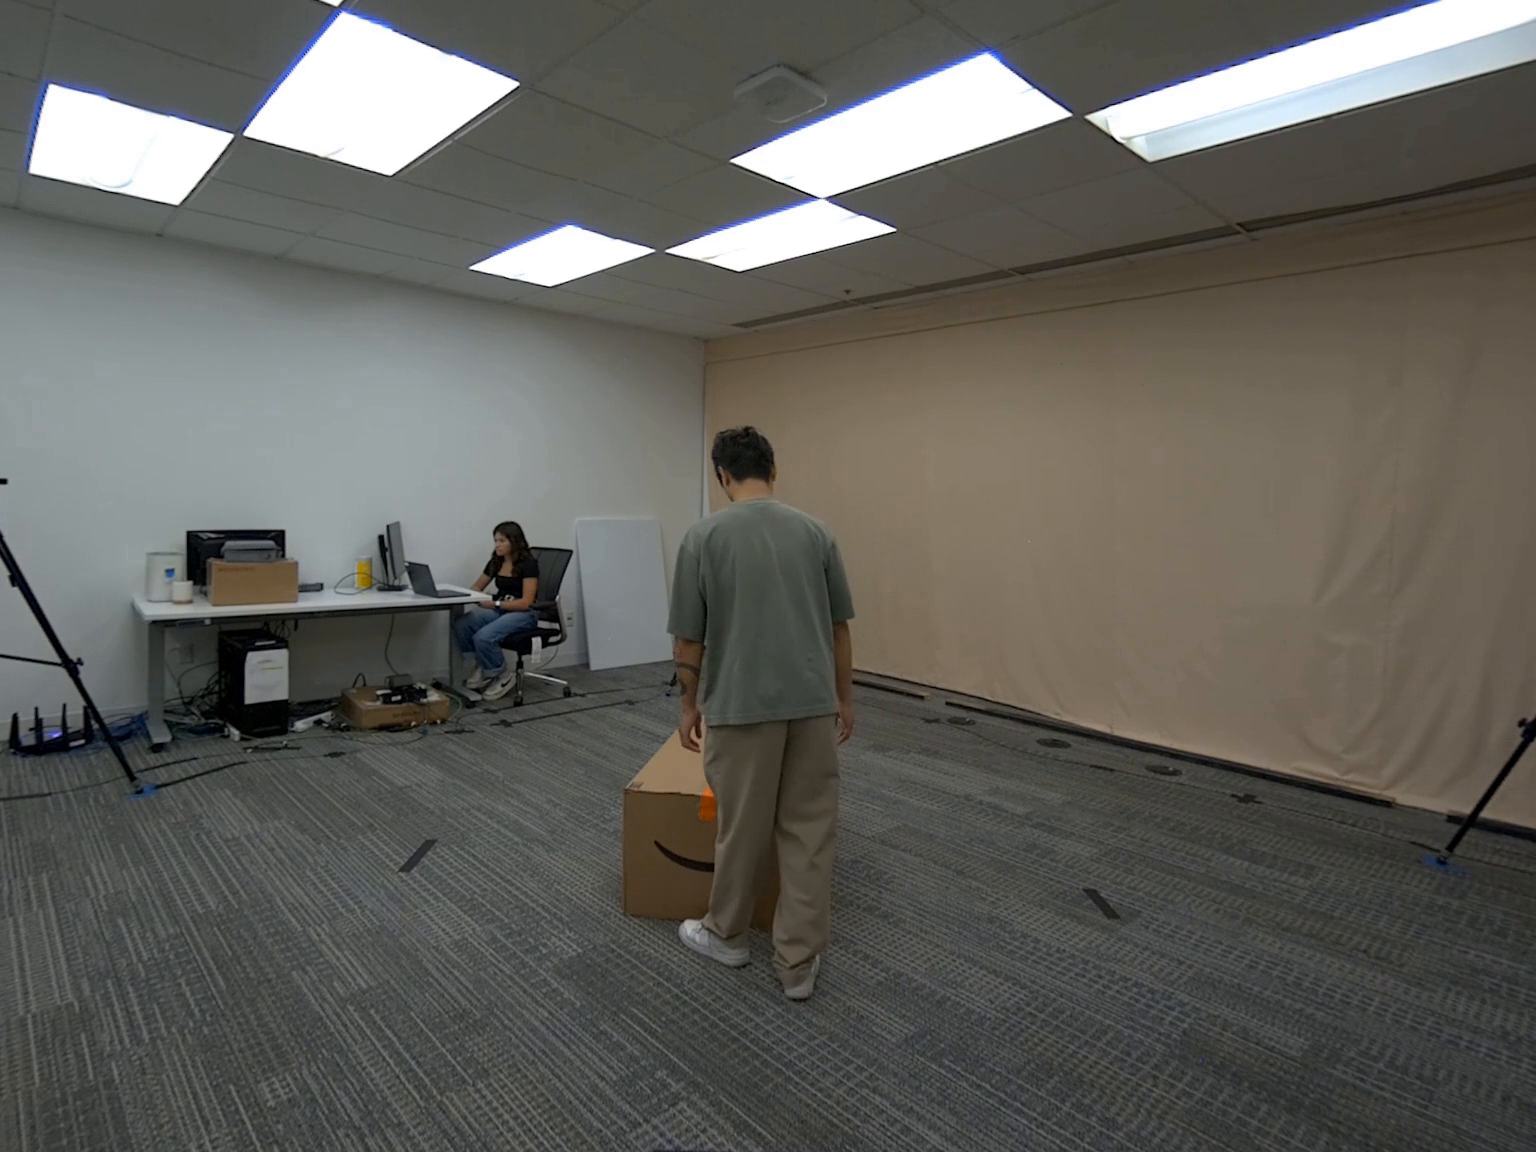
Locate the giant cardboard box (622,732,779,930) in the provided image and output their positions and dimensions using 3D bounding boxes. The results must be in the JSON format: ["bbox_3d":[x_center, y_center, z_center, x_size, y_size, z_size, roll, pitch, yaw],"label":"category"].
[{"bbox_3d":[-0.140,0.880,3.245,0.581,0.425,1.022,1,5,7],"label":"giant cardboard box"}]
